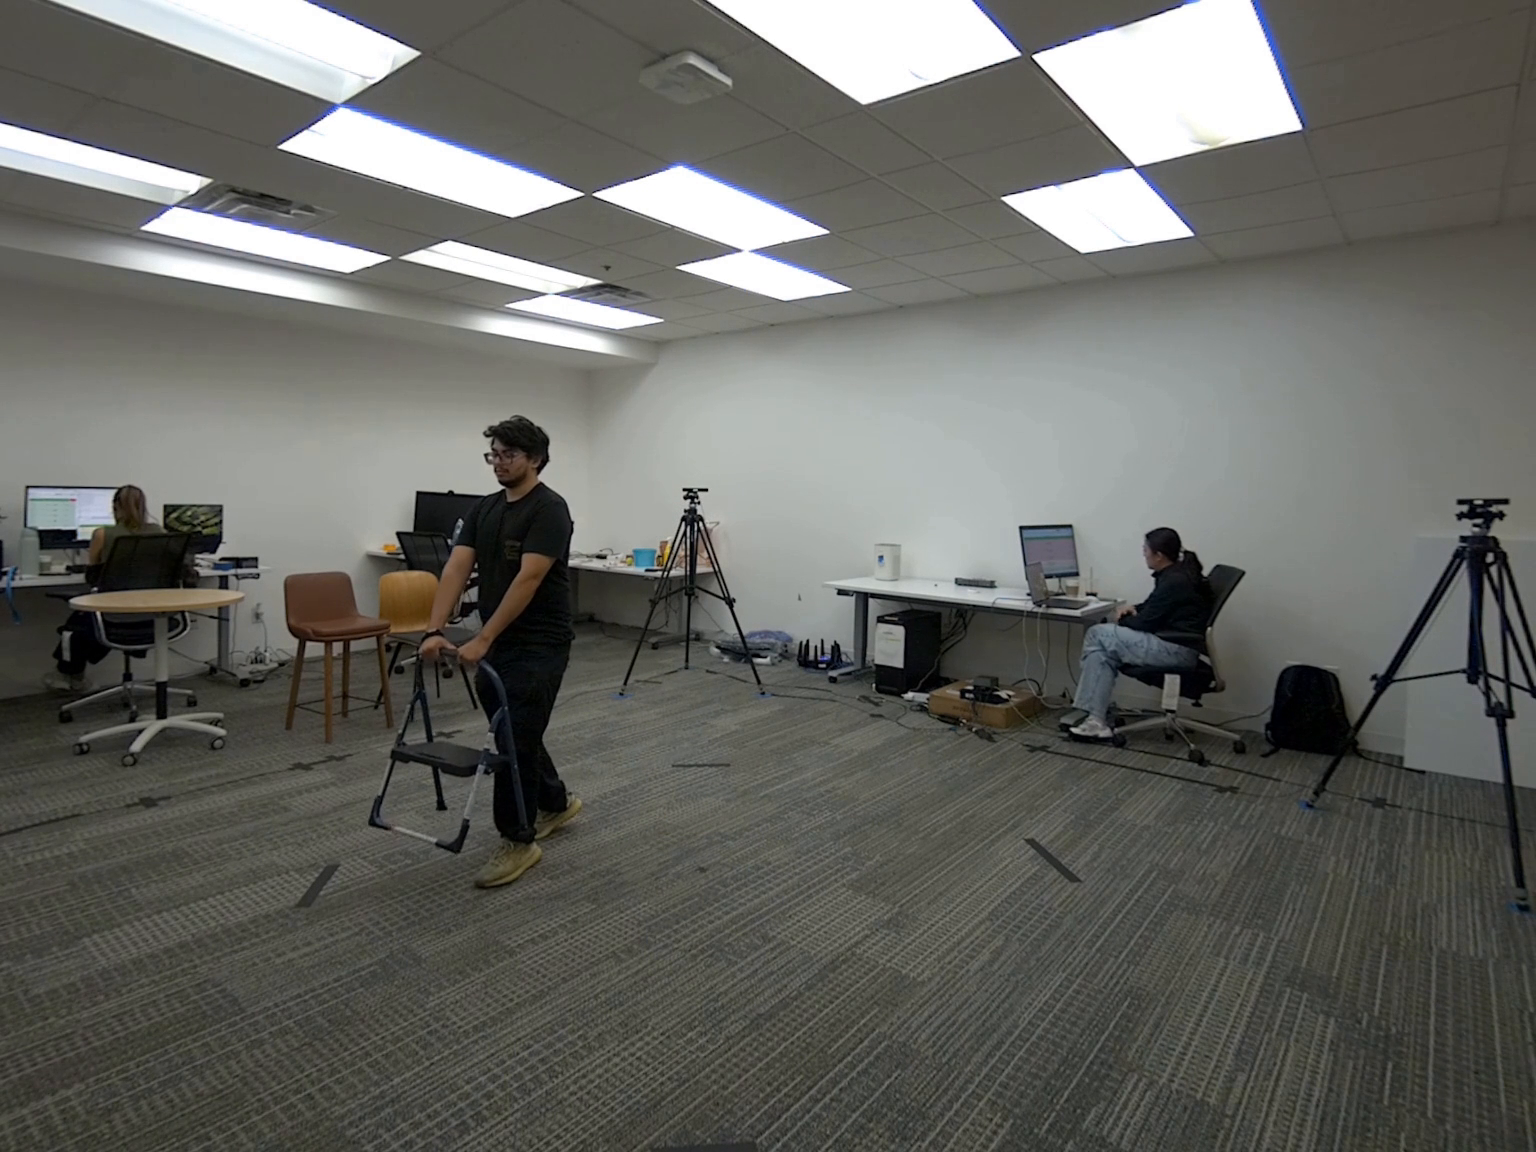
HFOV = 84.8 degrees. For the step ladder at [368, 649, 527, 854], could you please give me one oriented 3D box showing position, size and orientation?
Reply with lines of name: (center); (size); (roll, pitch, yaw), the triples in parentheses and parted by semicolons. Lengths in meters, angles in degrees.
step ladder: (-1.070, 0.561, 2.901); (0.442, 0.609, 0.339); (3, -5, 26)
